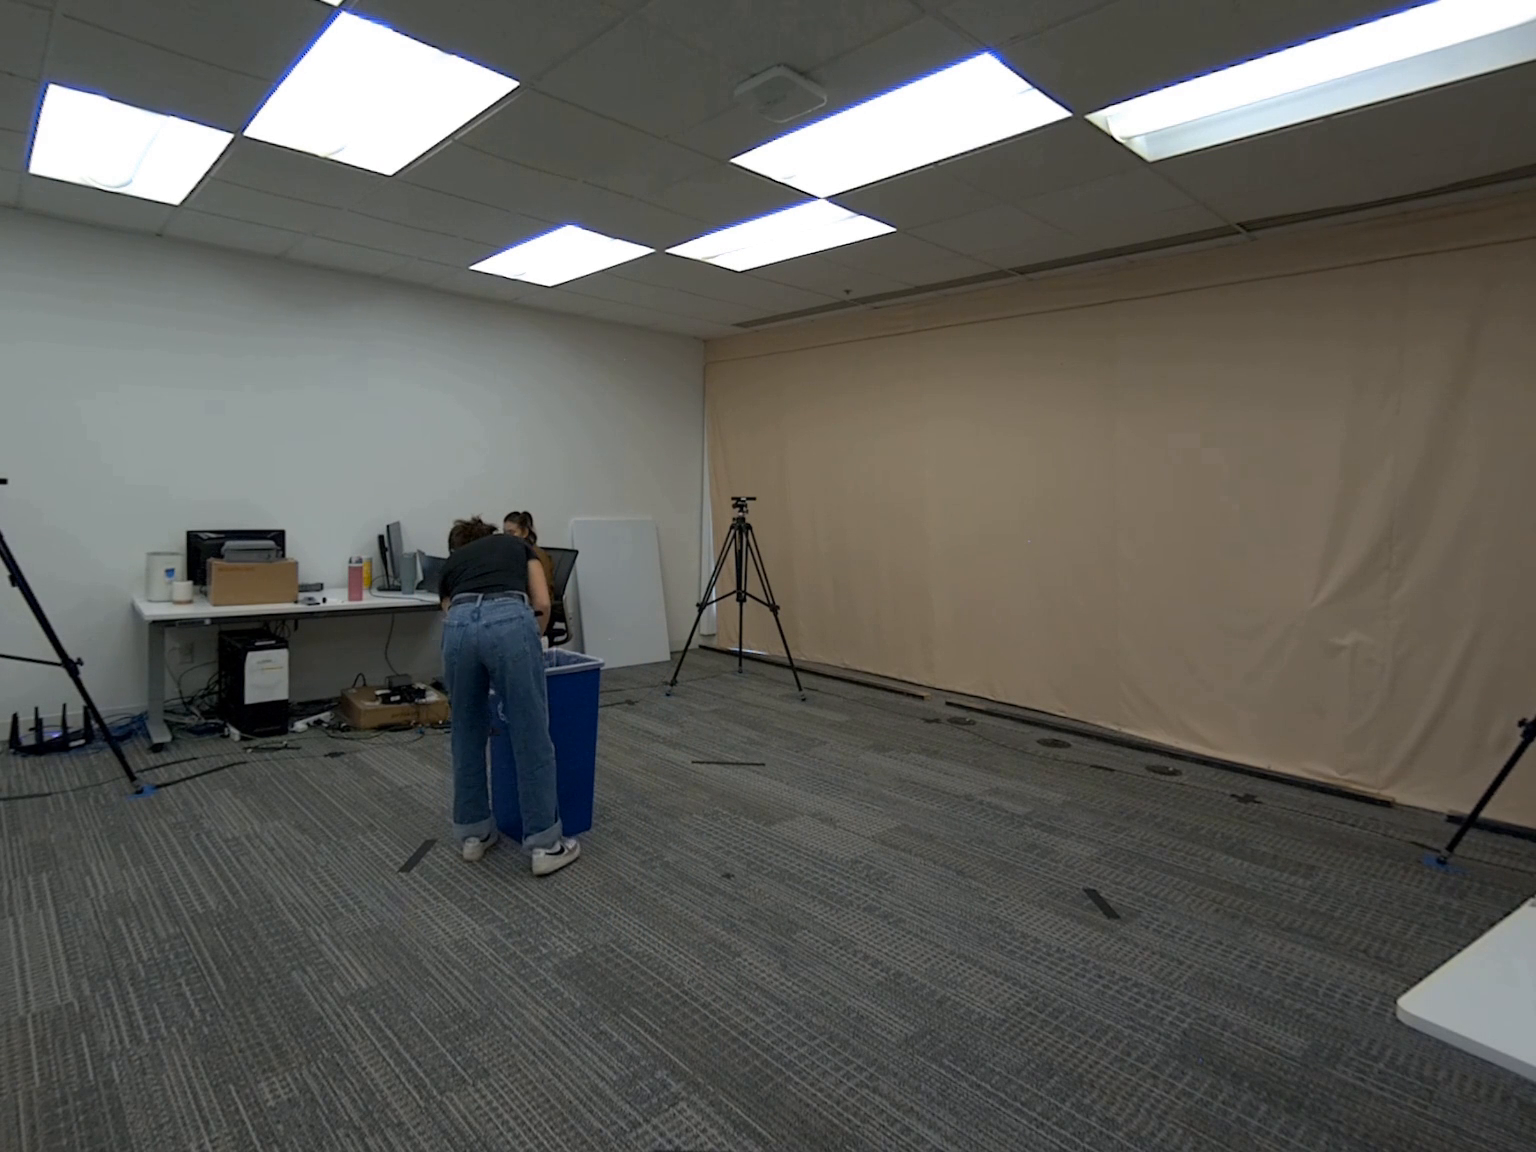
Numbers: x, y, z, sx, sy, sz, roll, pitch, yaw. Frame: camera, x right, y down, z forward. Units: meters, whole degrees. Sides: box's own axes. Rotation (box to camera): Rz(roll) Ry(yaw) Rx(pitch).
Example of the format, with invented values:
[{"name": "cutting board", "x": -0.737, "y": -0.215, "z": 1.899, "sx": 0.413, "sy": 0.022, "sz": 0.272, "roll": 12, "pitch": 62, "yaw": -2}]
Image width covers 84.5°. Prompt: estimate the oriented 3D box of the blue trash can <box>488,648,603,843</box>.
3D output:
[{"name": "blue trash can", "x": -0.937, "y": 0.699, "z": 3.509, "sx": 0.388, "sy": 0.712, "sz": 0.365, "roll": 5, "pitch": 5, "yaw": 44}]
